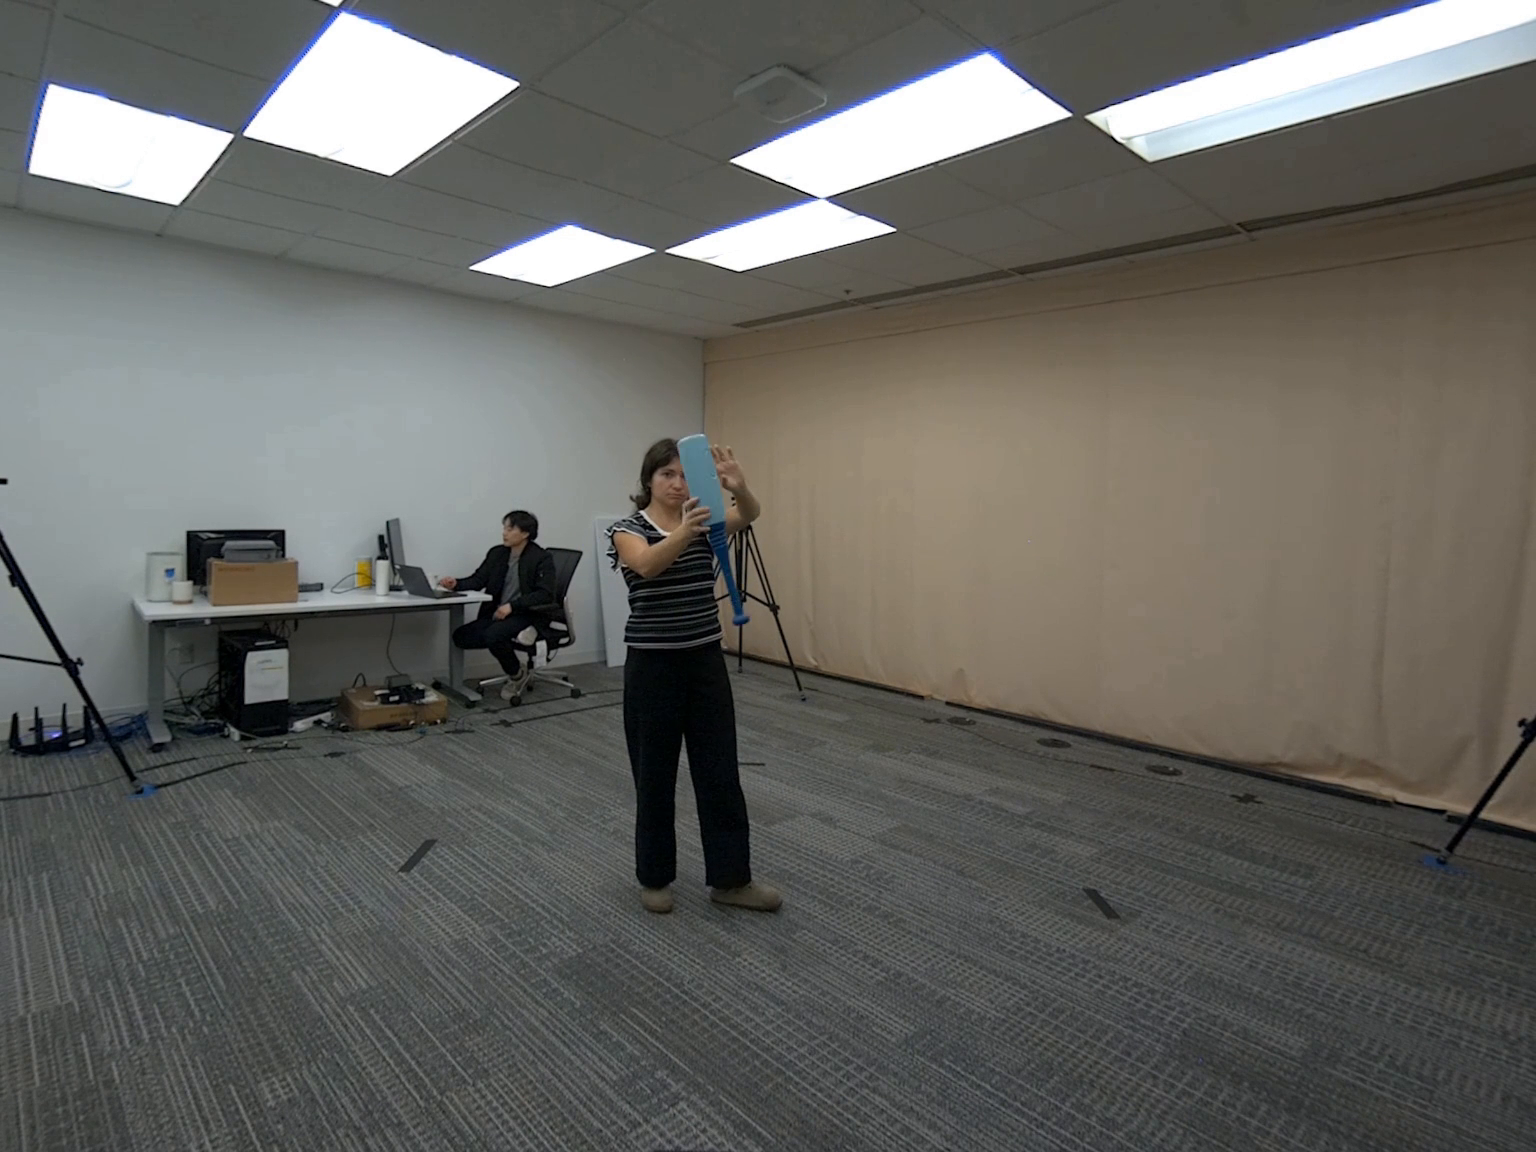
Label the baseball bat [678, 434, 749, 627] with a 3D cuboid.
[{"bbox_3d":[-0.154,-0.130,2.337,0.089,0.542,0.089,-14,1,-1],"label":"baseball bat"}]
